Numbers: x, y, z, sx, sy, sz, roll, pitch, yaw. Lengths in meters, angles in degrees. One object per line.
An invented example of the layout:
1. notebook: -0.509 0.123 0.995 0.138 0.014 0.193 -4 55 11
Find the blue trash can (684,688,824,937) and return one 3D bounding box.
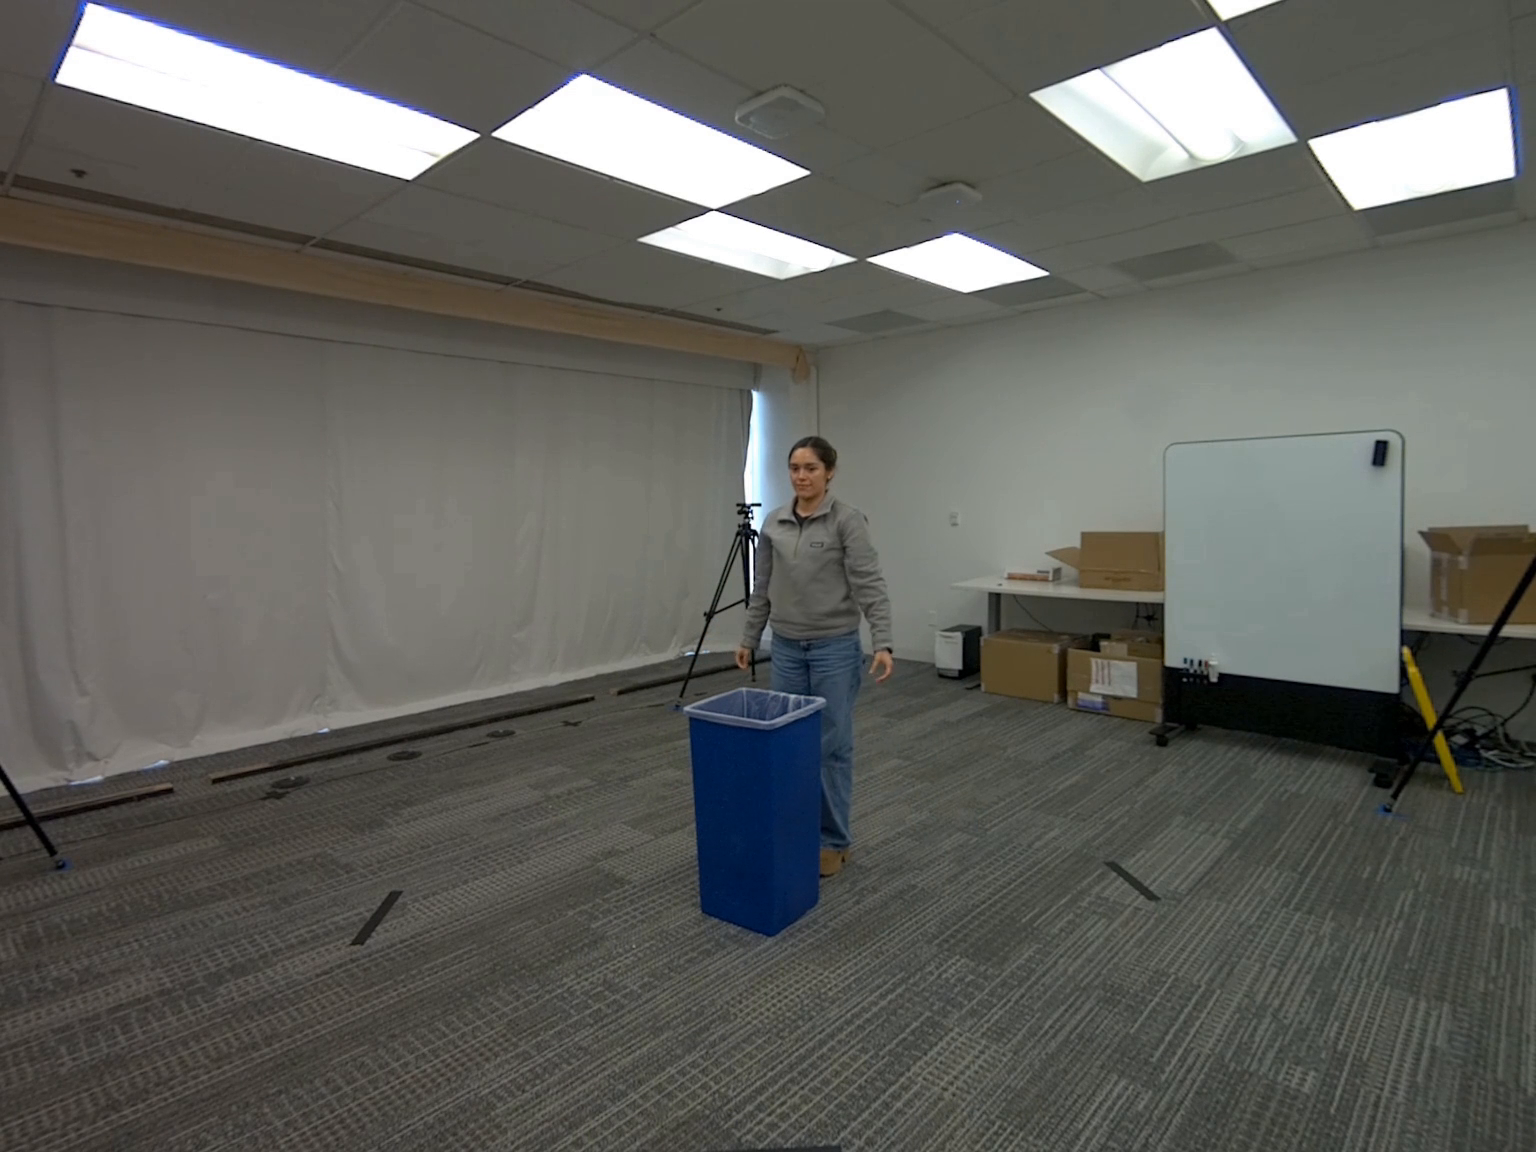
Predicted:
1. blue trash can: -0.032 0.787 2.877 0.390 0.712 0.363 1 4 35
